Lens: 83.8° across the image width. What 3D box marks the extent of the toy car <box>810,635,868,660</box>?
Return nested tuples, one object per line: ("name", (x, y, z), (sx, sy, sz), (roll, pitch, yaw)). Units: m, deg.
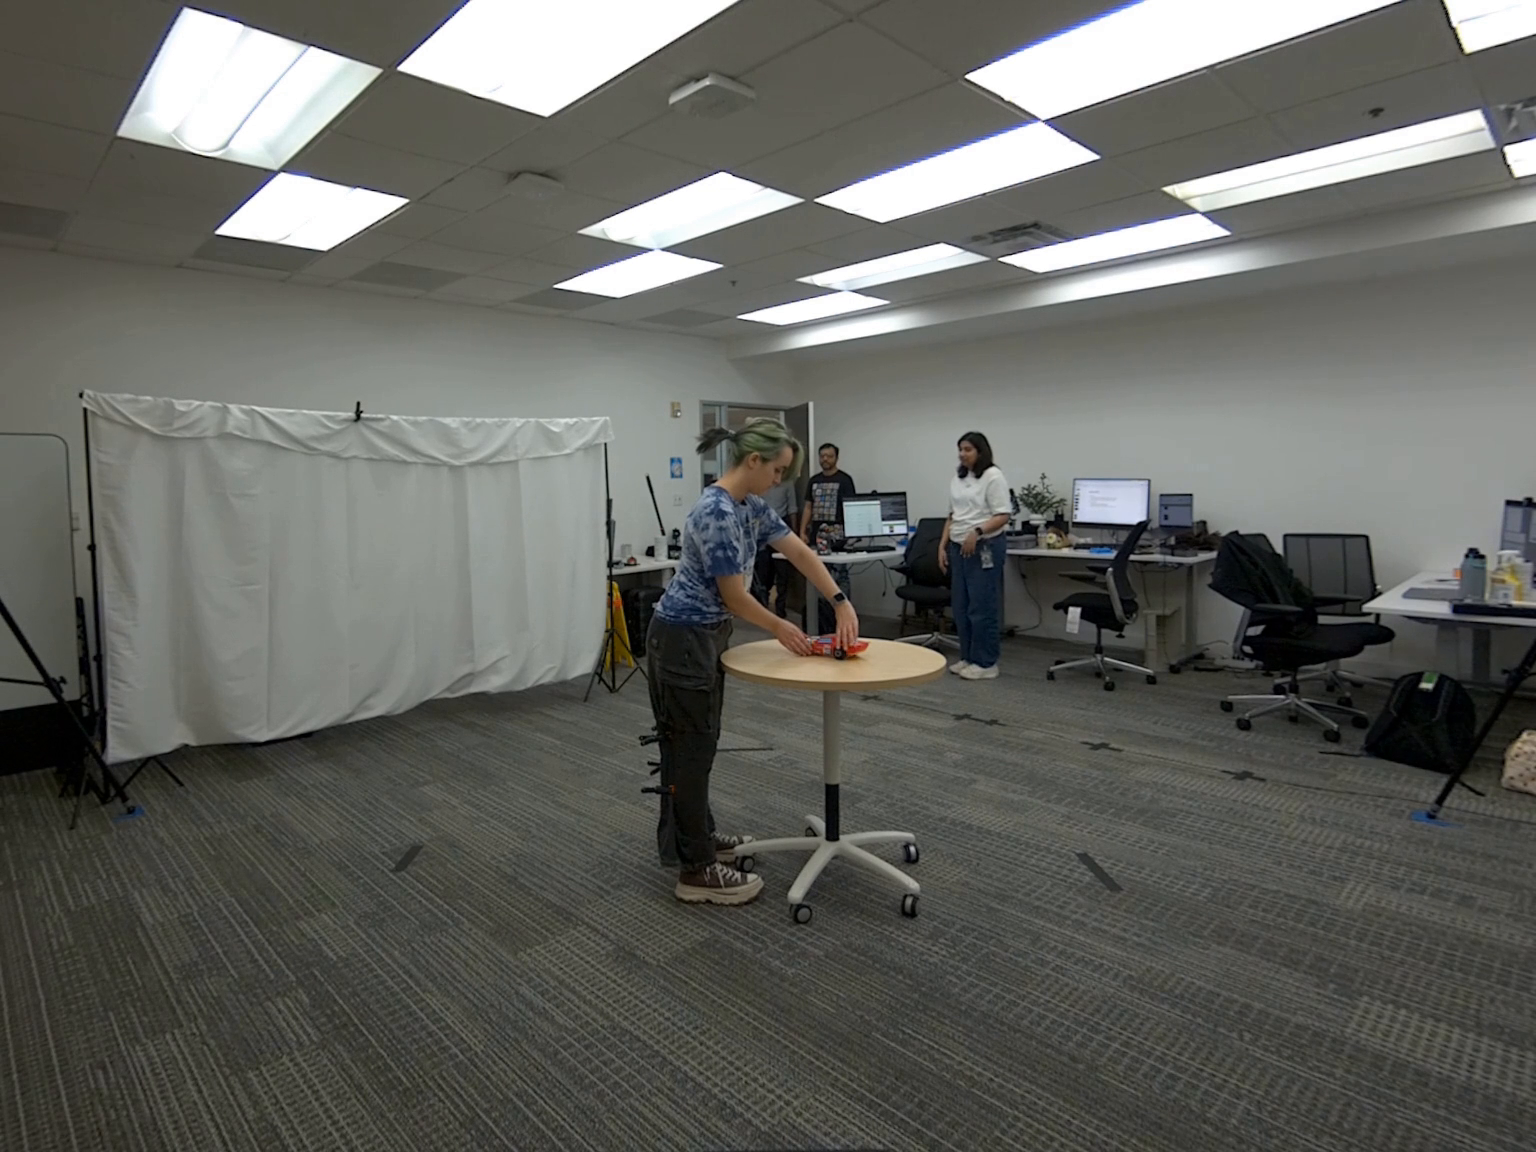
("toy car", (0.231, 0.245, 2.955), (0.260, 0.083, 0.127), (-9, -1, 36))
